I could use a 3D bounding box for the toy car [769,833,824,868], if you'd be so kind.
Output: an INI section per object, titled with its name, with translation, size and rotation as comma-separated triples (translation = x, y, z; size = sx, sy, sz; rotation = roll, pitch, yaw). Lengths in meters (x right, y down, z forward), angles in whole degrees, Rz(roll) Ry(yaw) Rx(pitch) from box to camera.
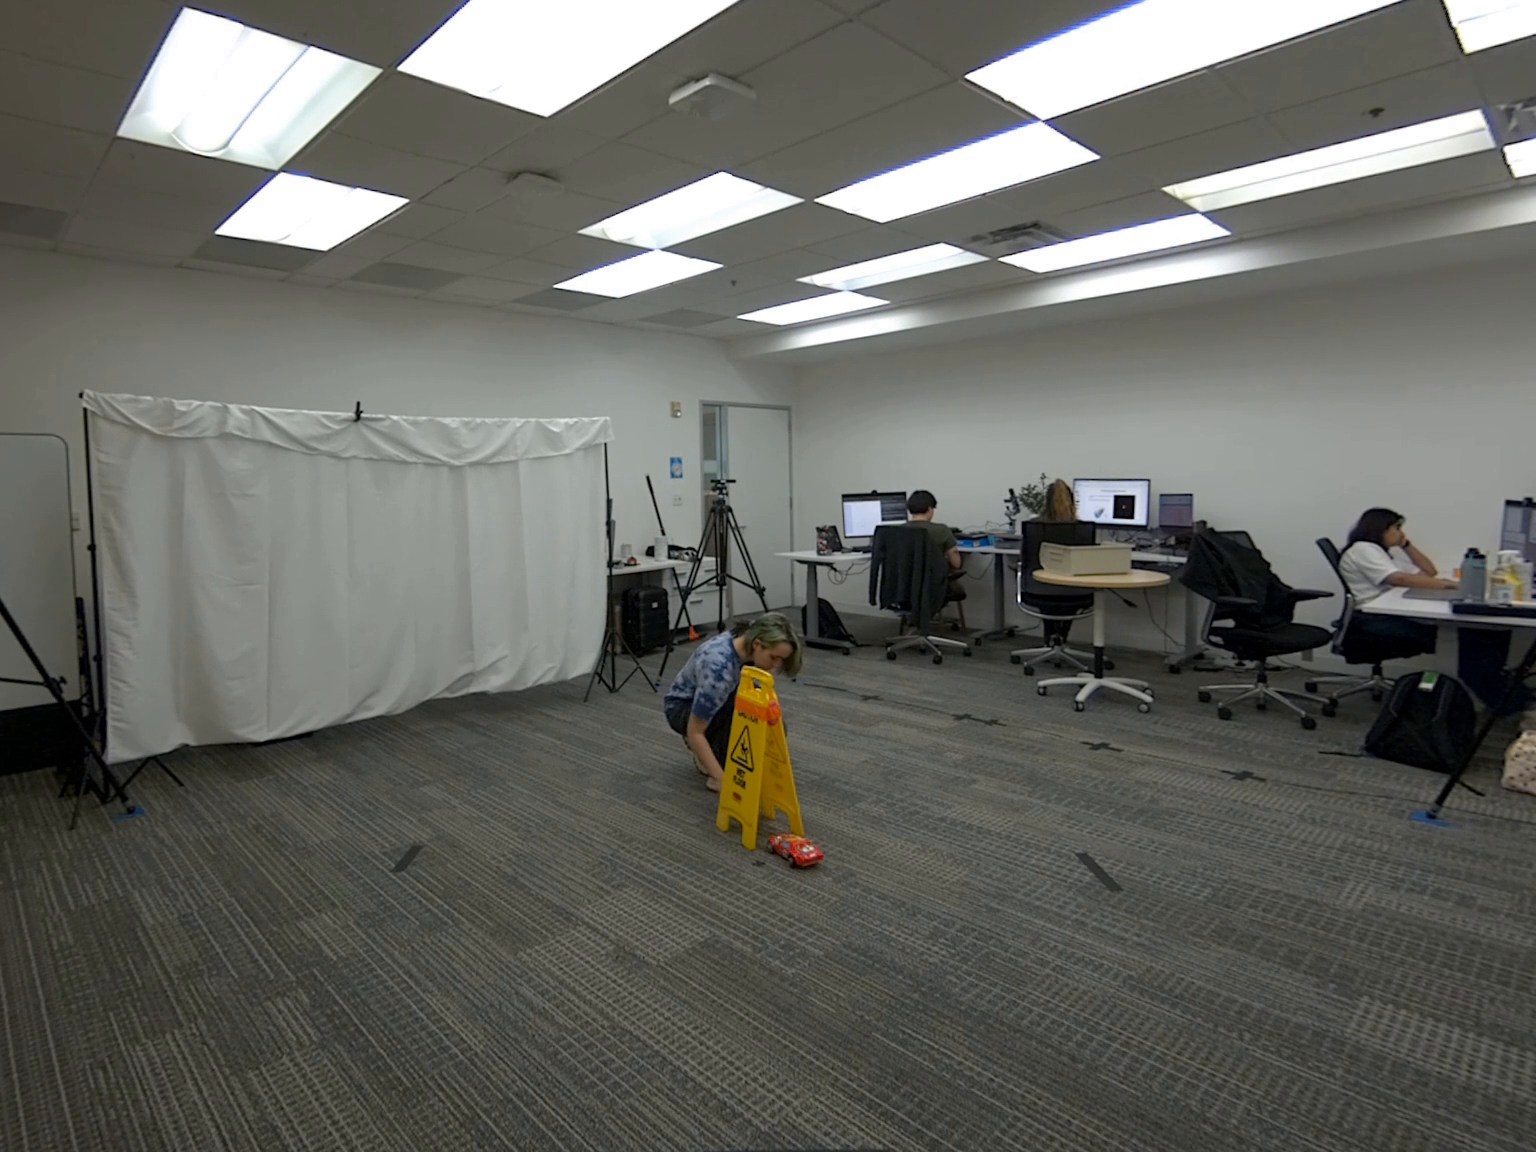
[toy car]
translation = 0.107, 1.016, 3.138
size = 0.127, 0.084, 0.258
rotation = -5, -7, -28
